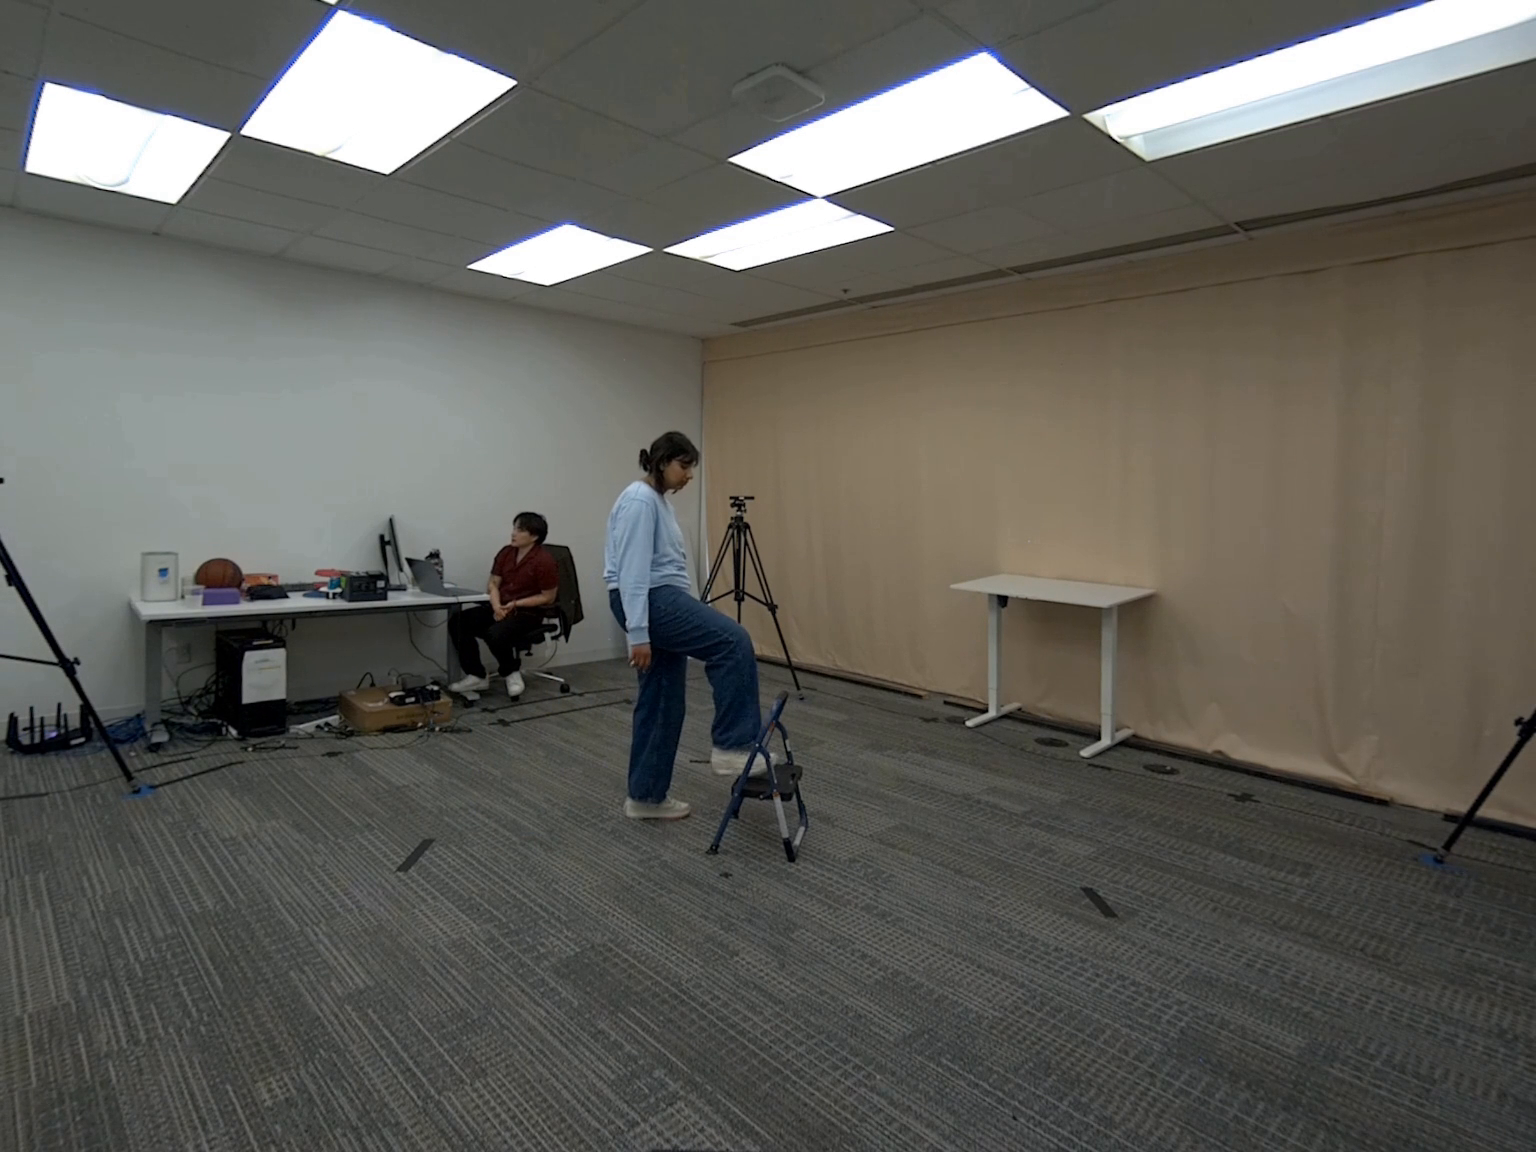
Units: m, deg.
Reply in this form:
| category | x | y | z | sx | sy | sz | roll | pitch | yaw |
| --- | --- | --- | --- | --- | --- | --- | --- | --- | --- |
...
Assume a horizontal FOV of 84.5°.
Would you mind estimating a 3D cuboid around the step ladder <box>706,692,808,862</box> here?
| category | x | y | z | sx | sy | sz | roll | pitch | yaw |
| --- | --- | --- | --- | --- | --- | --- | --- | --- | --- |
| step ladder | -0.028 | 0.775 | 3.437 | 0.352 | 0.604 | 0.428 | 2 | 4 | 10 |
